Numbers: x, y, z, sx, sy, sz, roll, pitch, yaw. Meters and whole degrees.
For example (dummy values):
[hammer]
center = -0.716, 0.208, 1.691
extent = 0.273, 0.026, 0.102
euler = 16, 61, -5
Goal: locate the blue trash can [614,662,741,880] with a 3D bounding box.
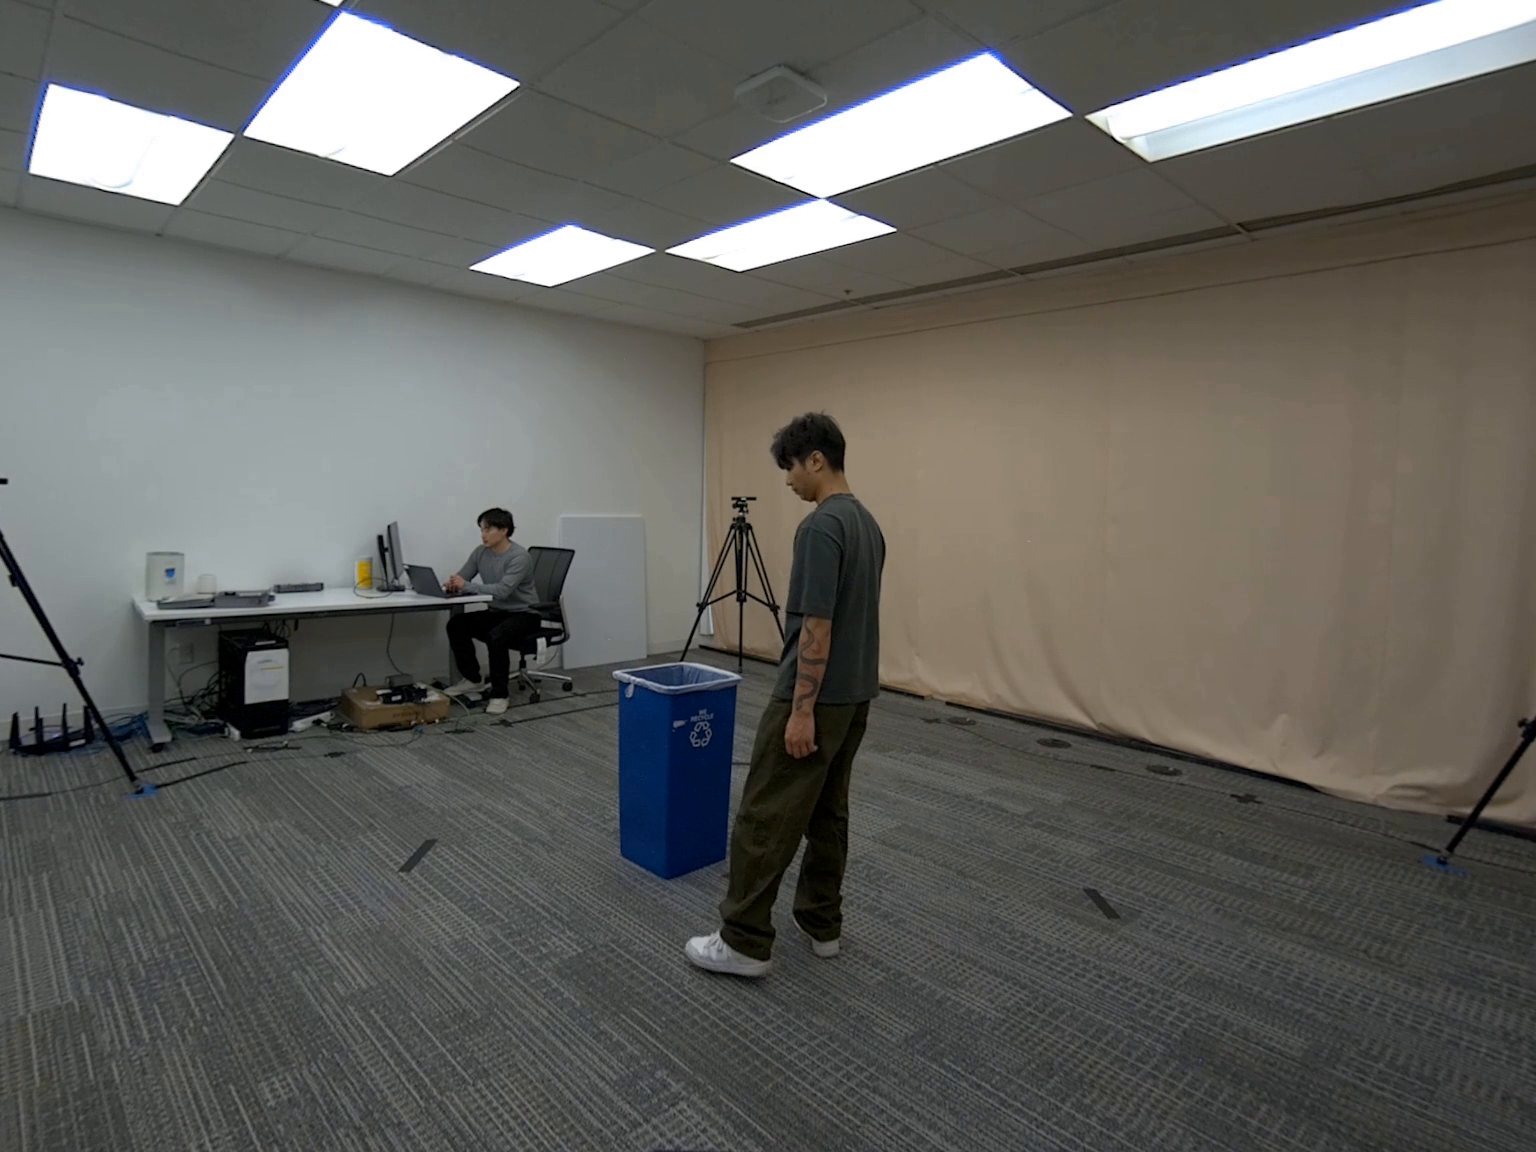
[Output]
[blue trash can]
center = -0.372, 0.732, 3.245
extent = 0.369, 0.712, 0.384
euler = -1, 5, -45
